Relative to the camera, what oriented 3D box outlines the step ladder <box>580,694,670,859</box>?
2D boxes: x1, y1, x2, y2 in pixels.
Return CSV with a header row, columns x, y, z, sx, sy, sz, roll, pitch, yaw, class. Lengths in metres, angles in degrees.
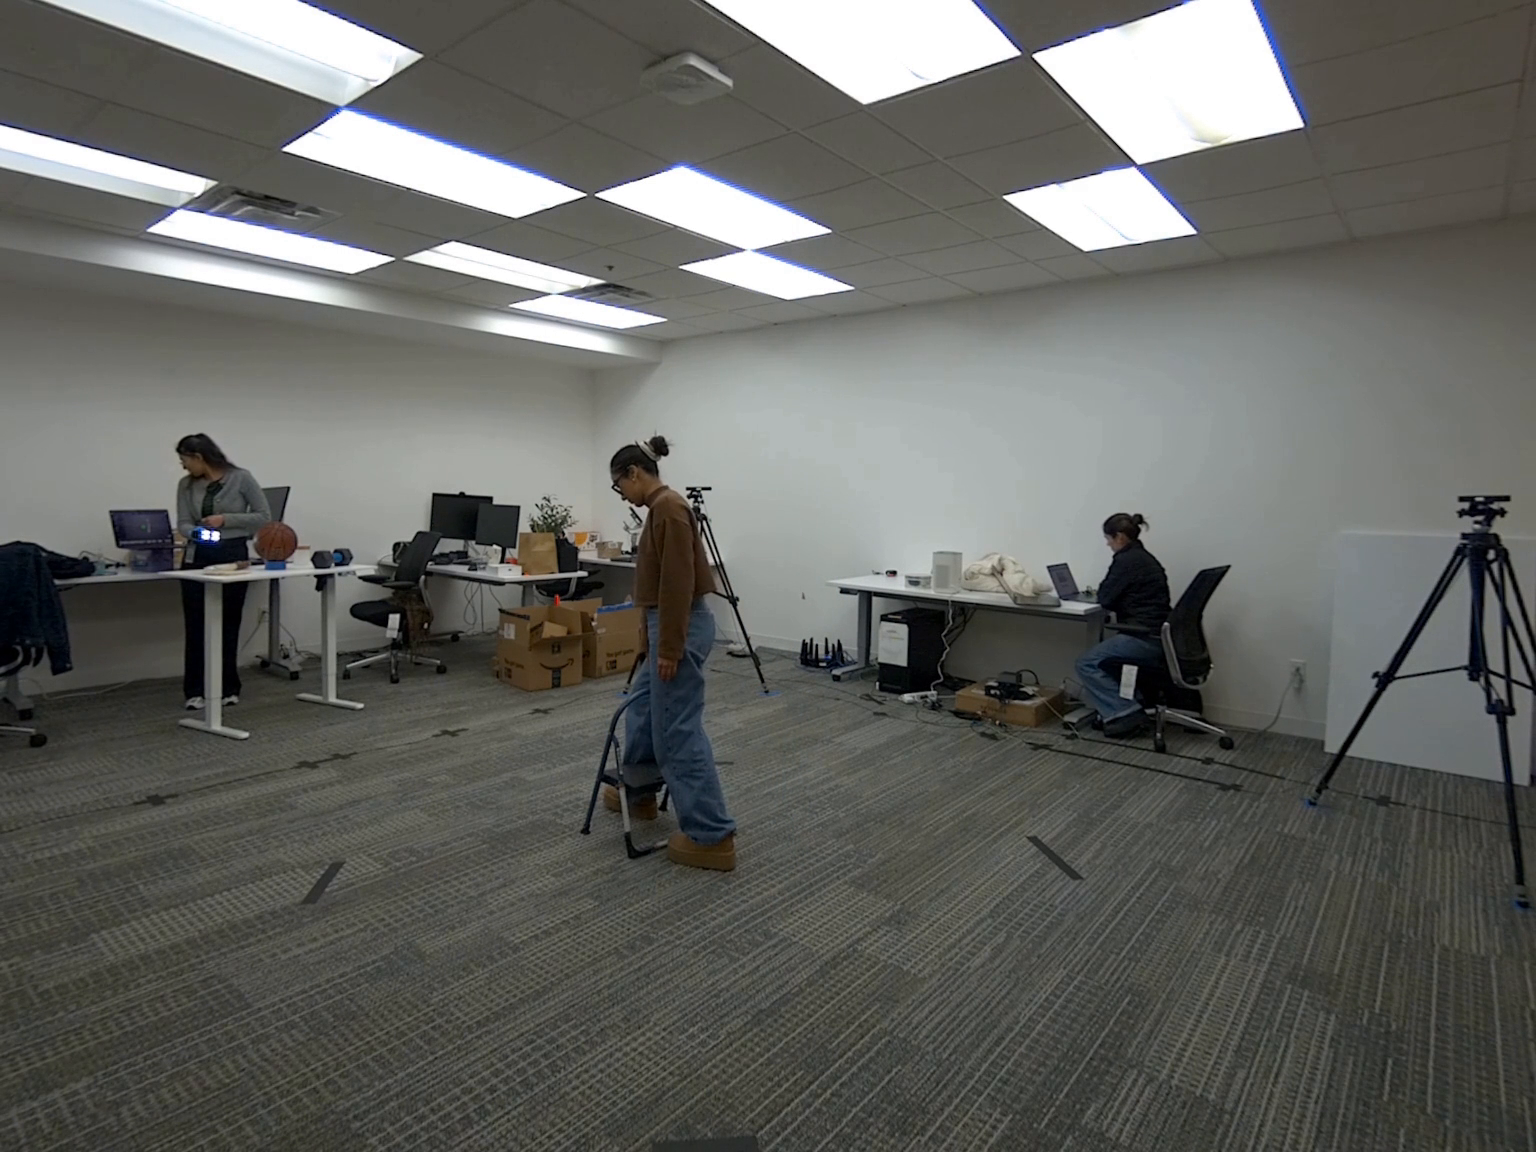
x,y,z,sx,sy,sz,roll,pitch,yaw,class
-0.490,0.726,3.409,0.417,0.604,0.361,-3,6,-44,step ladder
